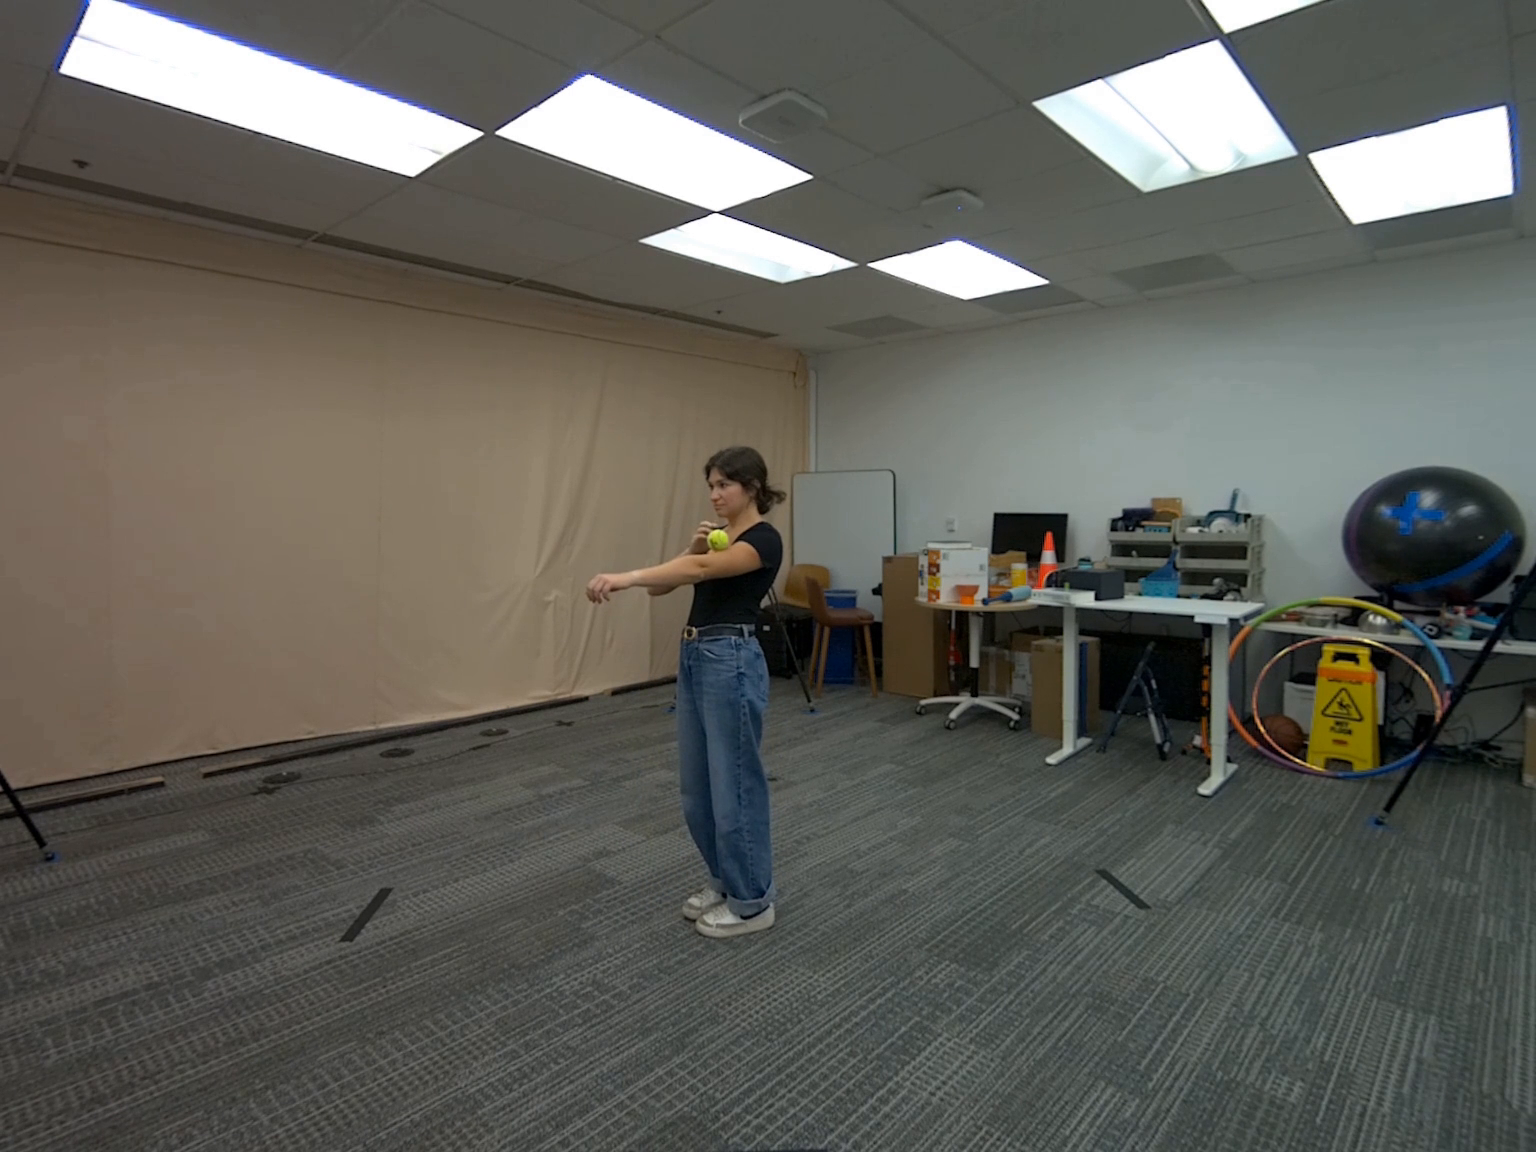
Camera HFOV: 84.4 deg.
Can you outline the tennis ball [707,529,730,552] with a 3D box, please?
[{"bbox_3d":[-0.157,-0.107,2.606,0.066,0.066,0.067,0,4,-2],"label":"tennis ball"}]
